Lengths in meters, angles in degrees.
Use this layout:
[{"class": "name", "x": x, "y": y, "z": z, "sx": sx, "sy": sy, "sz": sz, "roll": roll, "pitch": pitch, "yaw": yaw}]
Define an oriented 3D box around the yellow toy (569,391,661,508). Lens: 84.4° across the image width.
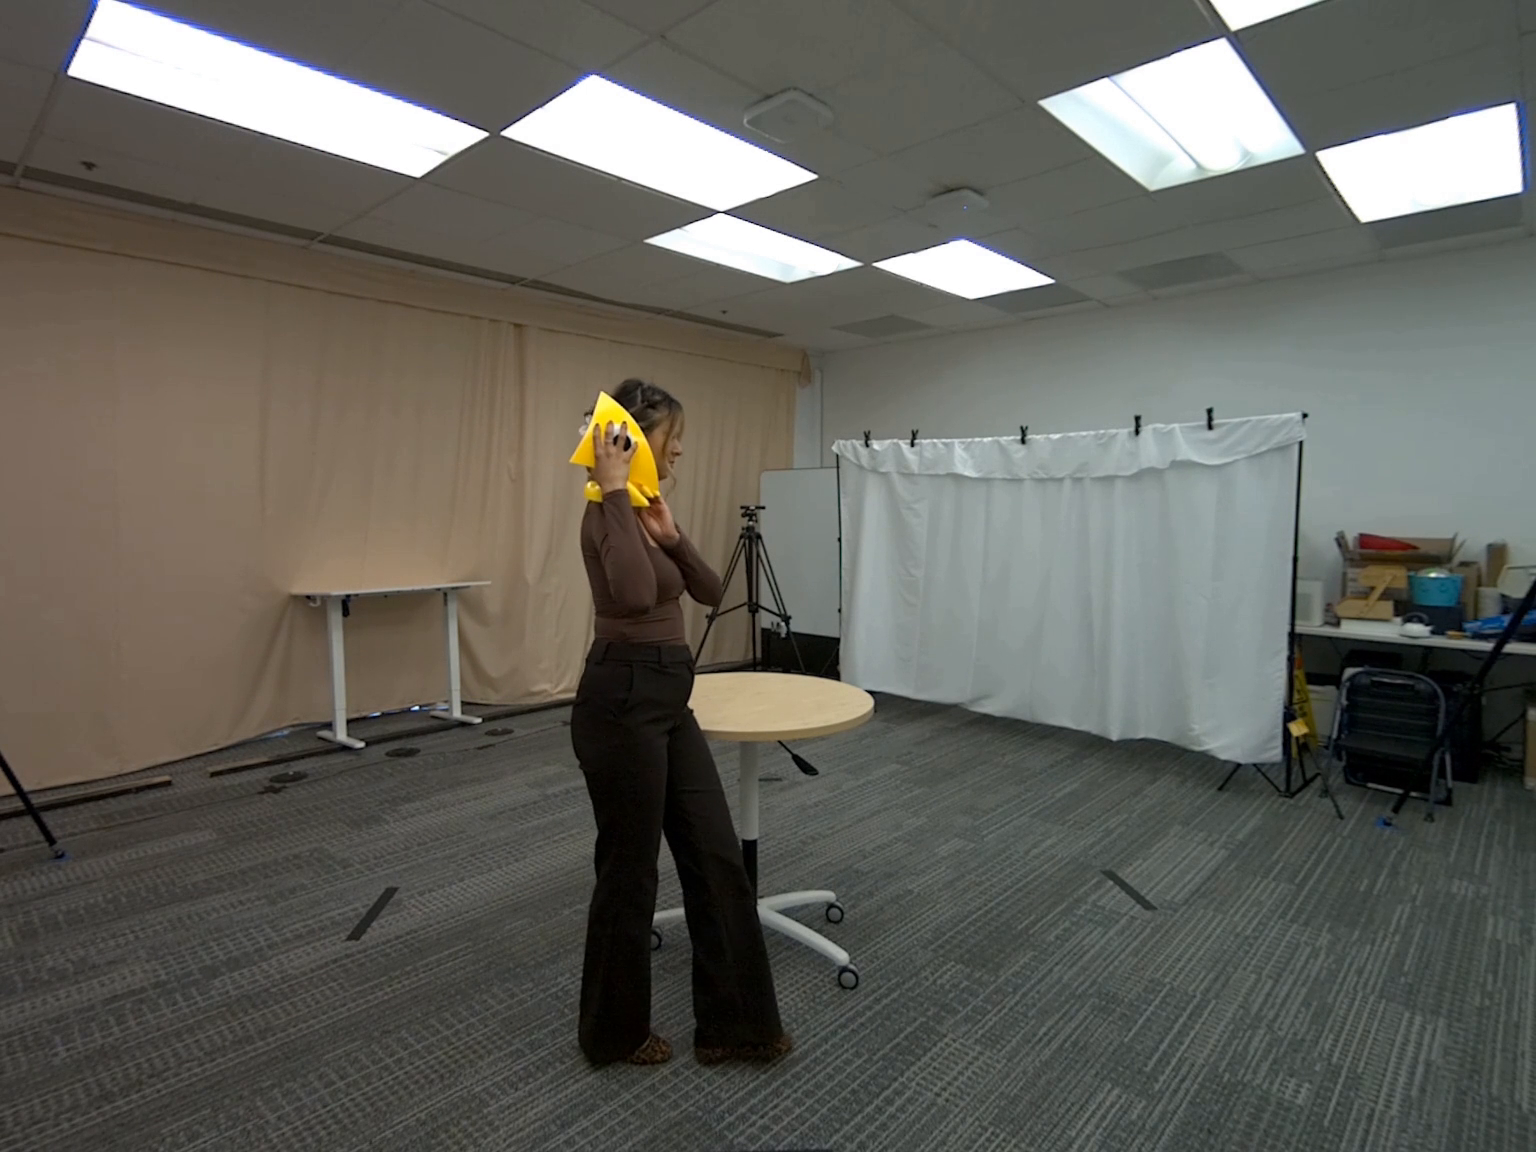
[{"class": "yellow toy", "x": -0.334, "y": -0.297, "z": 1.930, "sx": 0.194, "sy": 0.229, "sz": 0.205, "roll": 10, "pitch": 16, "yaw": 4}]
